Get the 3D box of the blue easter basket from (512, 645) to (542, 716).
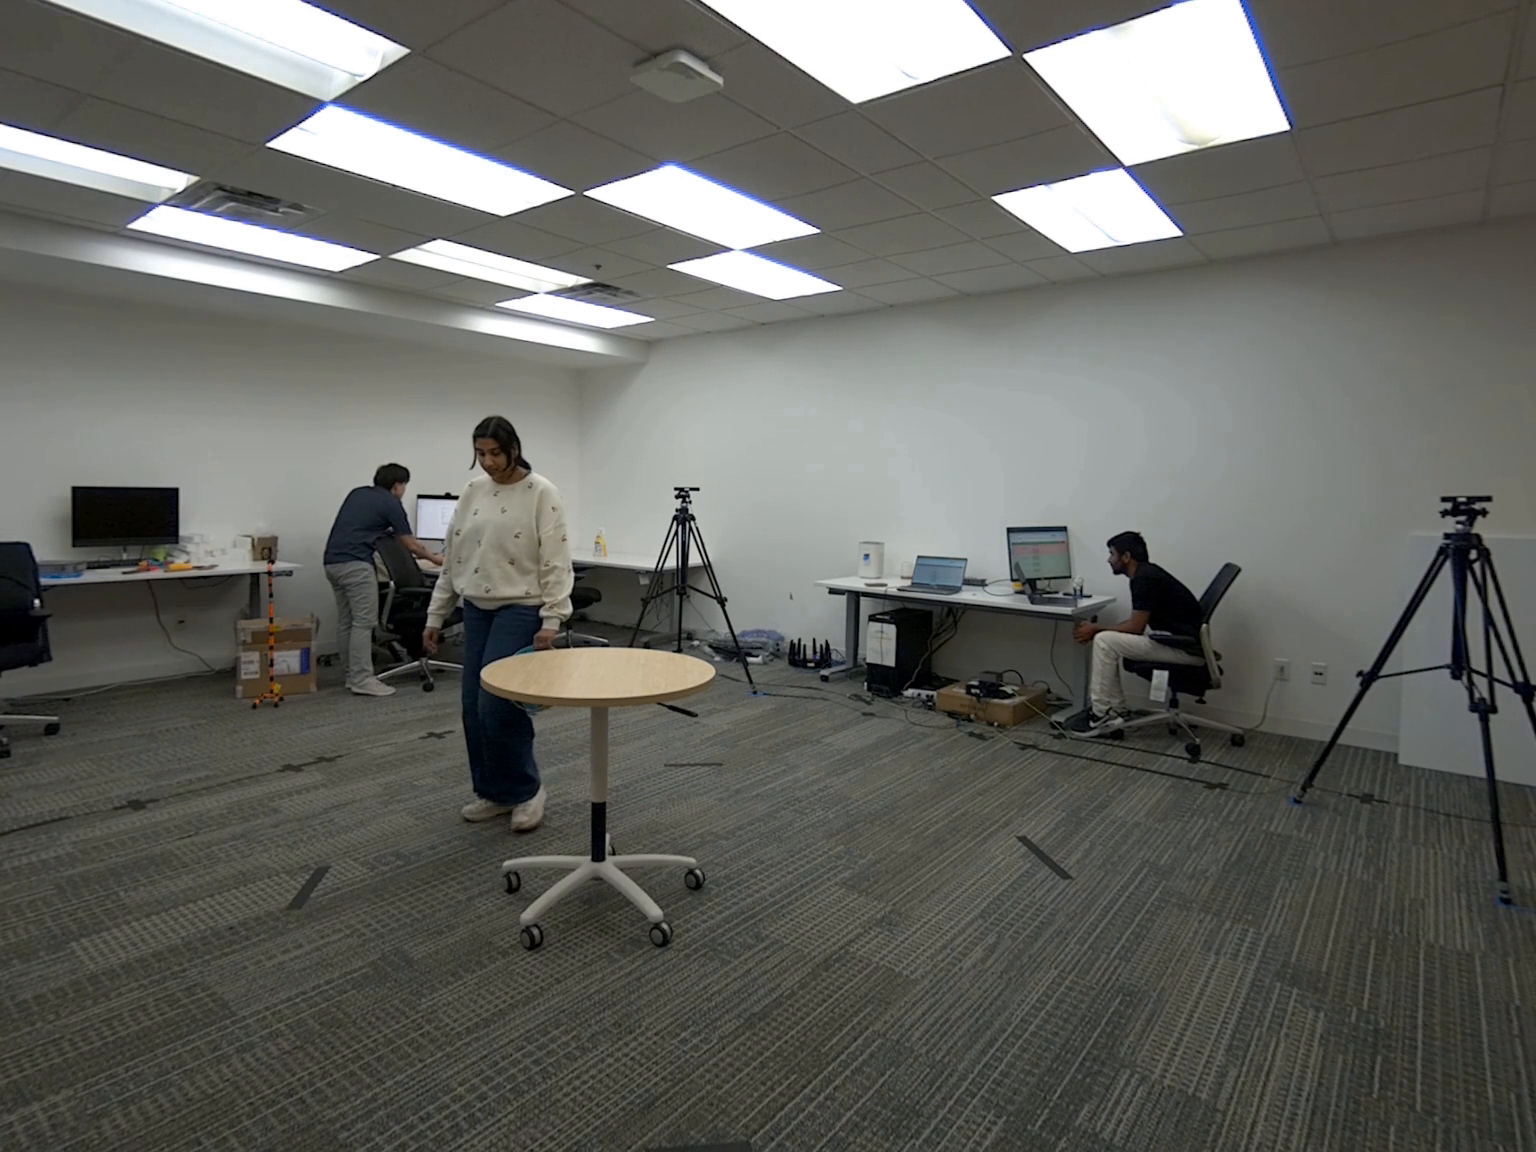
[{"bbox_3d":[-0.905,0.412,3.304,0.245,0.151,0.251,-7,40,4],"label":"blue easter basket"}]
